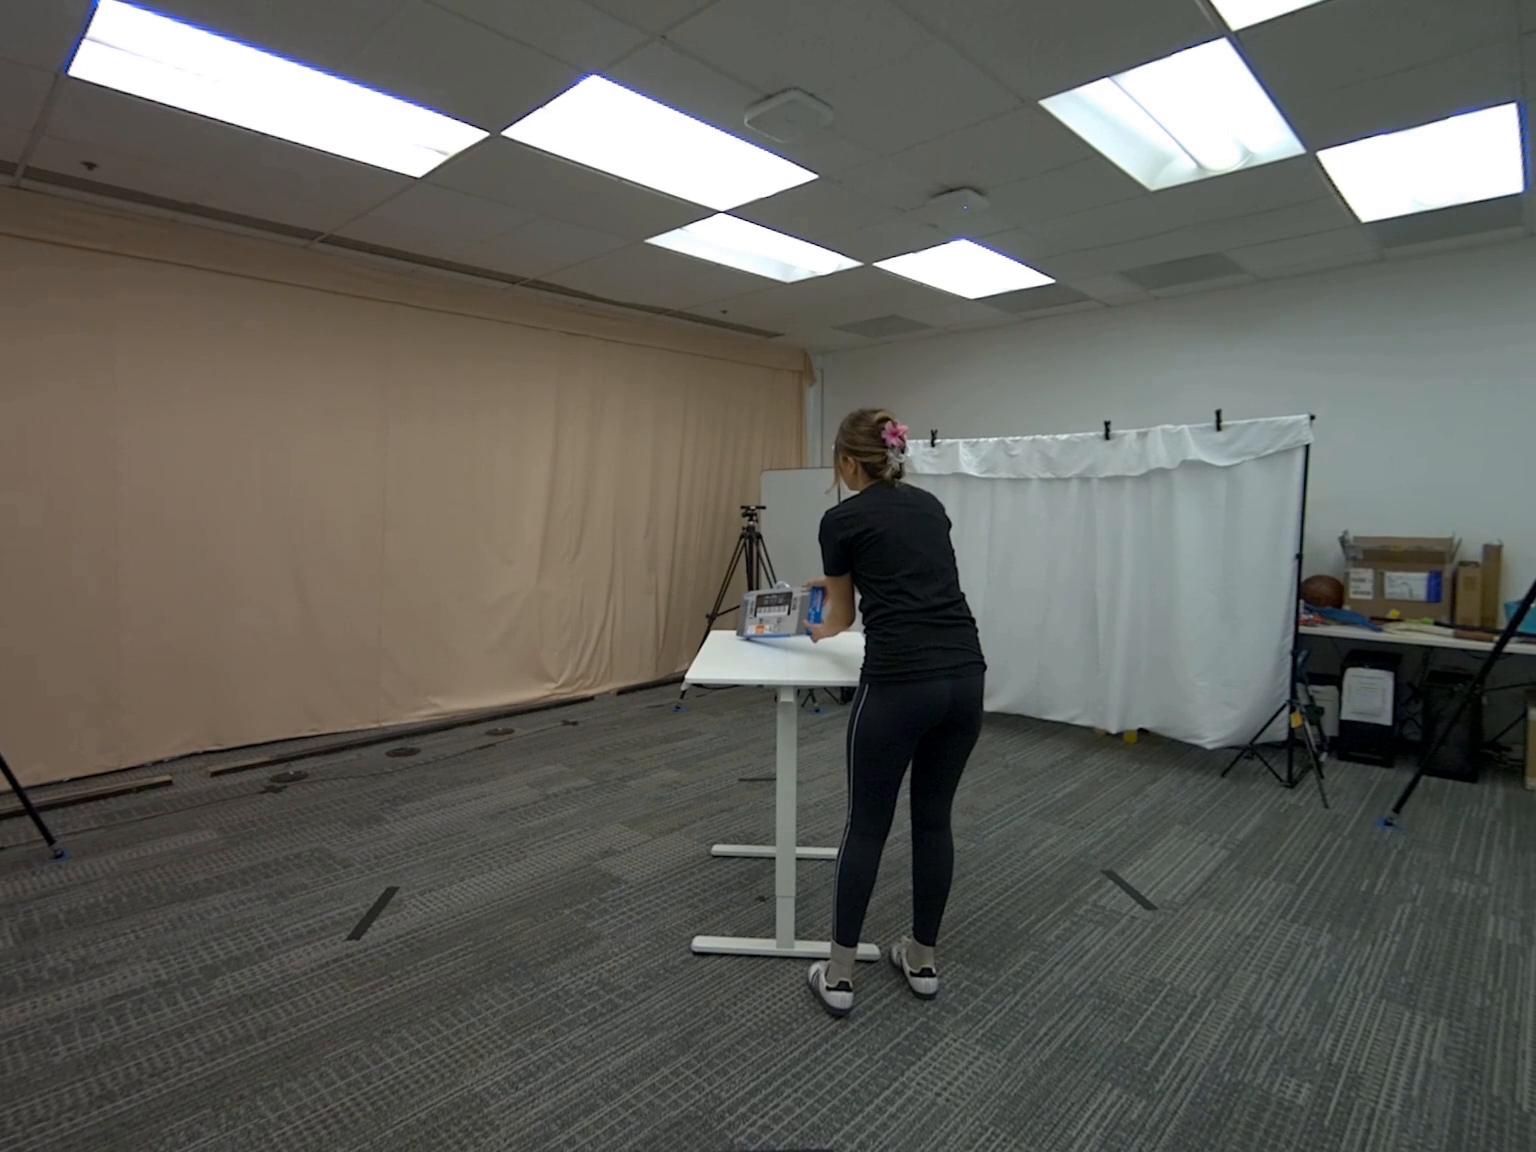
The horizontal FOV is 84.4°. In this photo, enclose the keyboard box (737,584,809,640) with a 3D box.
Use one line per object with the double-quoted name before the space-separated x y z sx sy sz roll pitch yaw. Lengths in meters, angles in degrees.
"keyboard box" 0.038 0.142 3.057 0.057 0.177 0.448 14 -12 -32
